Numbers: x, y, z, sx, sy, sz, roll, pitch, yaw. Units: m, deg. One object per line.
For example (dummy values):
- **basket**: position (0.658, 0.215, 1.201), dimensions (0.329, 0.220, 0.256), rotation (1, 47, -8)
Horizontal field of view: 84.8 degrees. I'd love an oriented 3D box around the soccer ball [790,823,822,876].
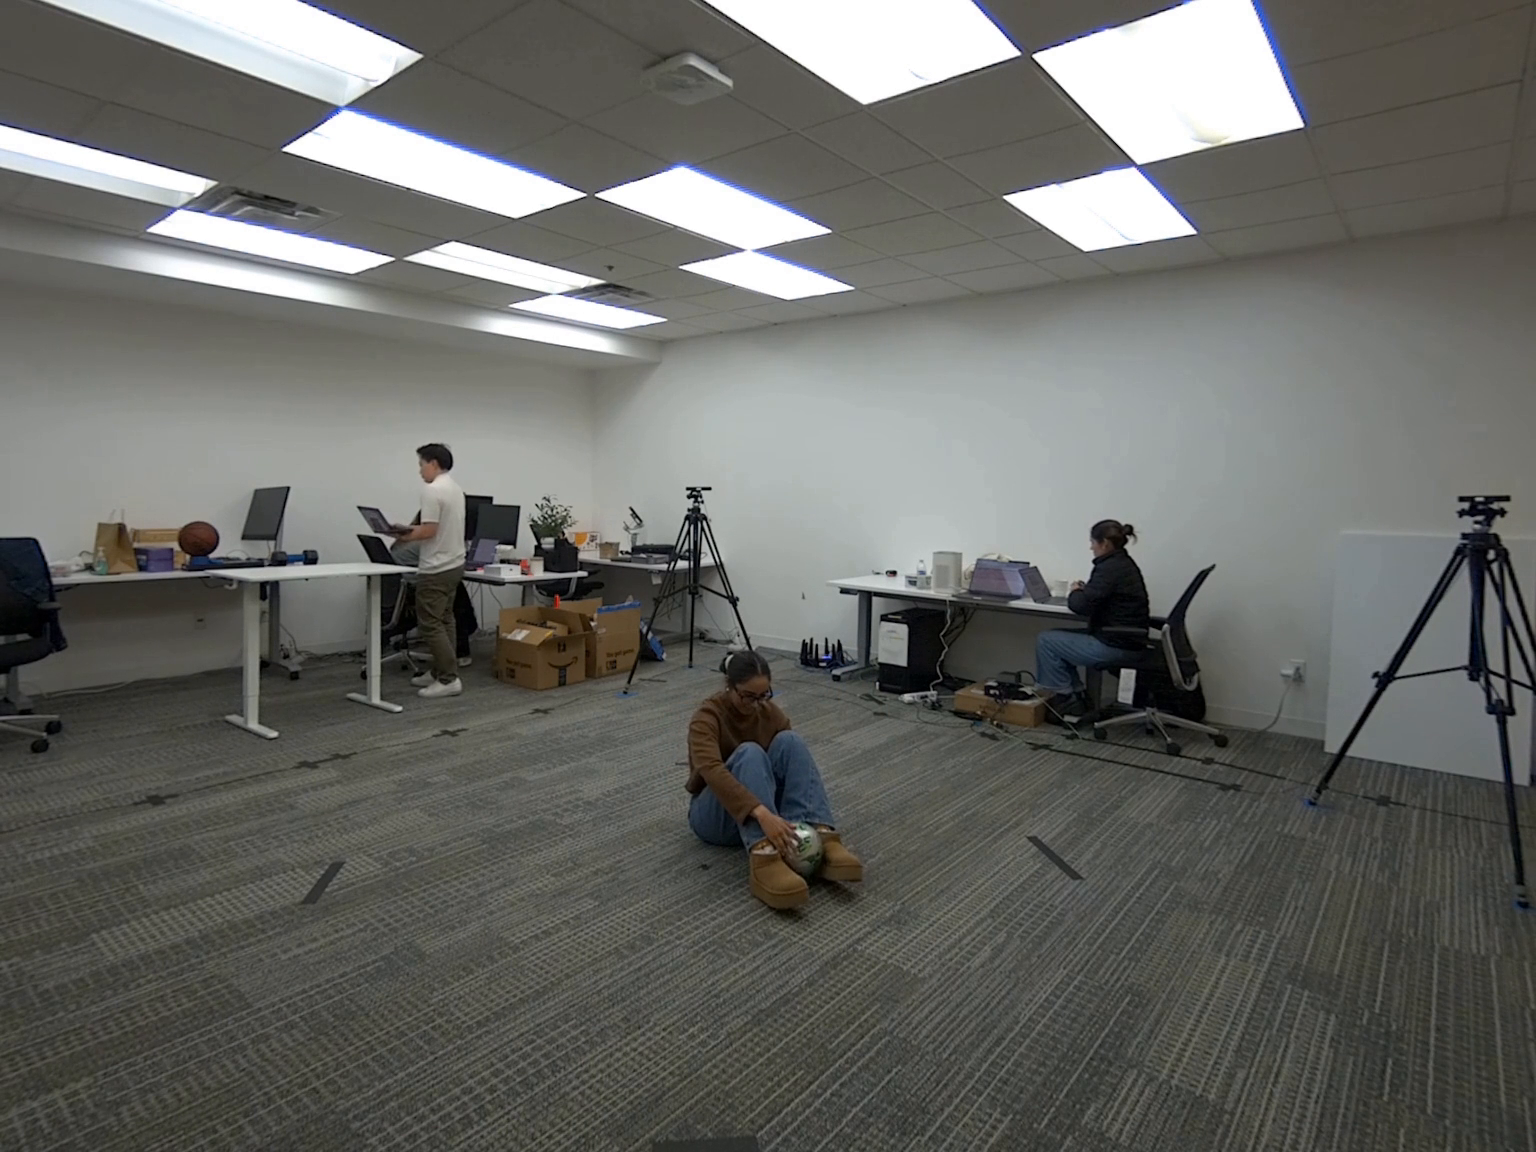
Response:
- **soccer ball**: position (0.091, 0.963, 2.978), dimensions (0.187, 0.187, 0.188), rotation (1, 4, -2)
